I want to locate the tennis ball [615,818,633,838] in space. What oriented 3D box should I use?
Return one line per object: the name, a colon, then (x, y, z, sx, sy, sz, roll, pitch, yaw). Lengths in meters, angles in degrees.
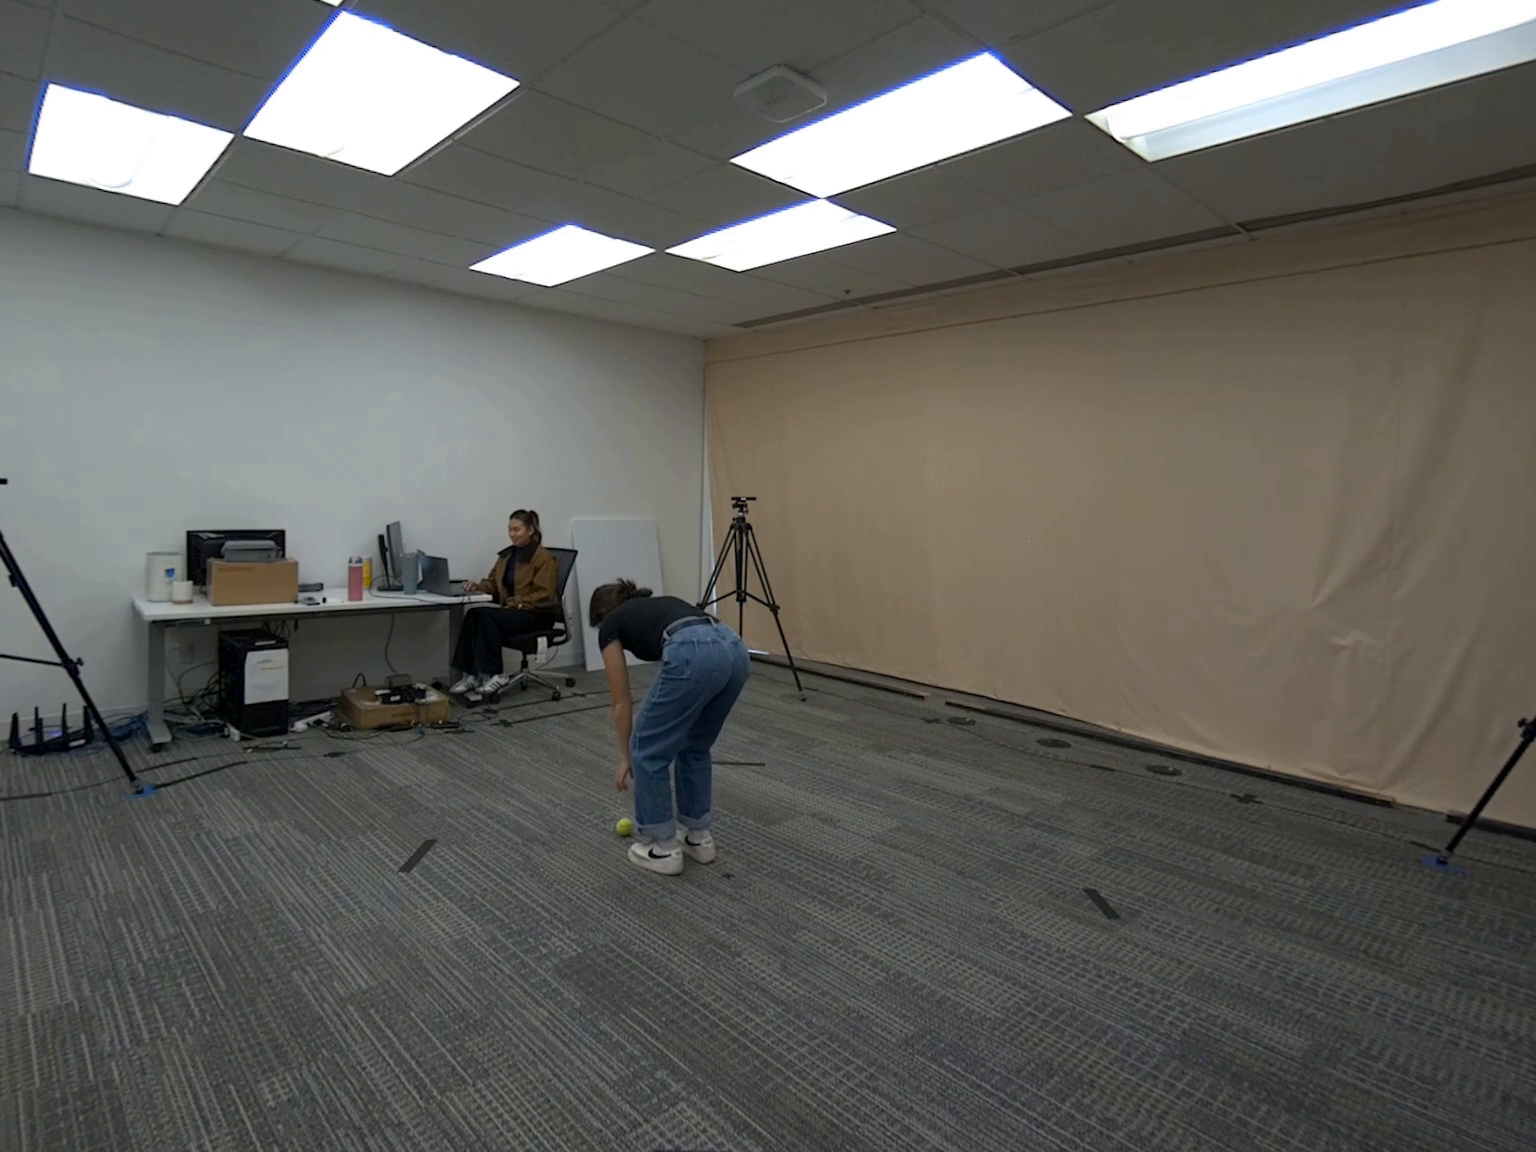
tennis ball: (-0.599, 1.008, 3.444, 0.066, 0.066, 0.067, 1, 4, -1)
